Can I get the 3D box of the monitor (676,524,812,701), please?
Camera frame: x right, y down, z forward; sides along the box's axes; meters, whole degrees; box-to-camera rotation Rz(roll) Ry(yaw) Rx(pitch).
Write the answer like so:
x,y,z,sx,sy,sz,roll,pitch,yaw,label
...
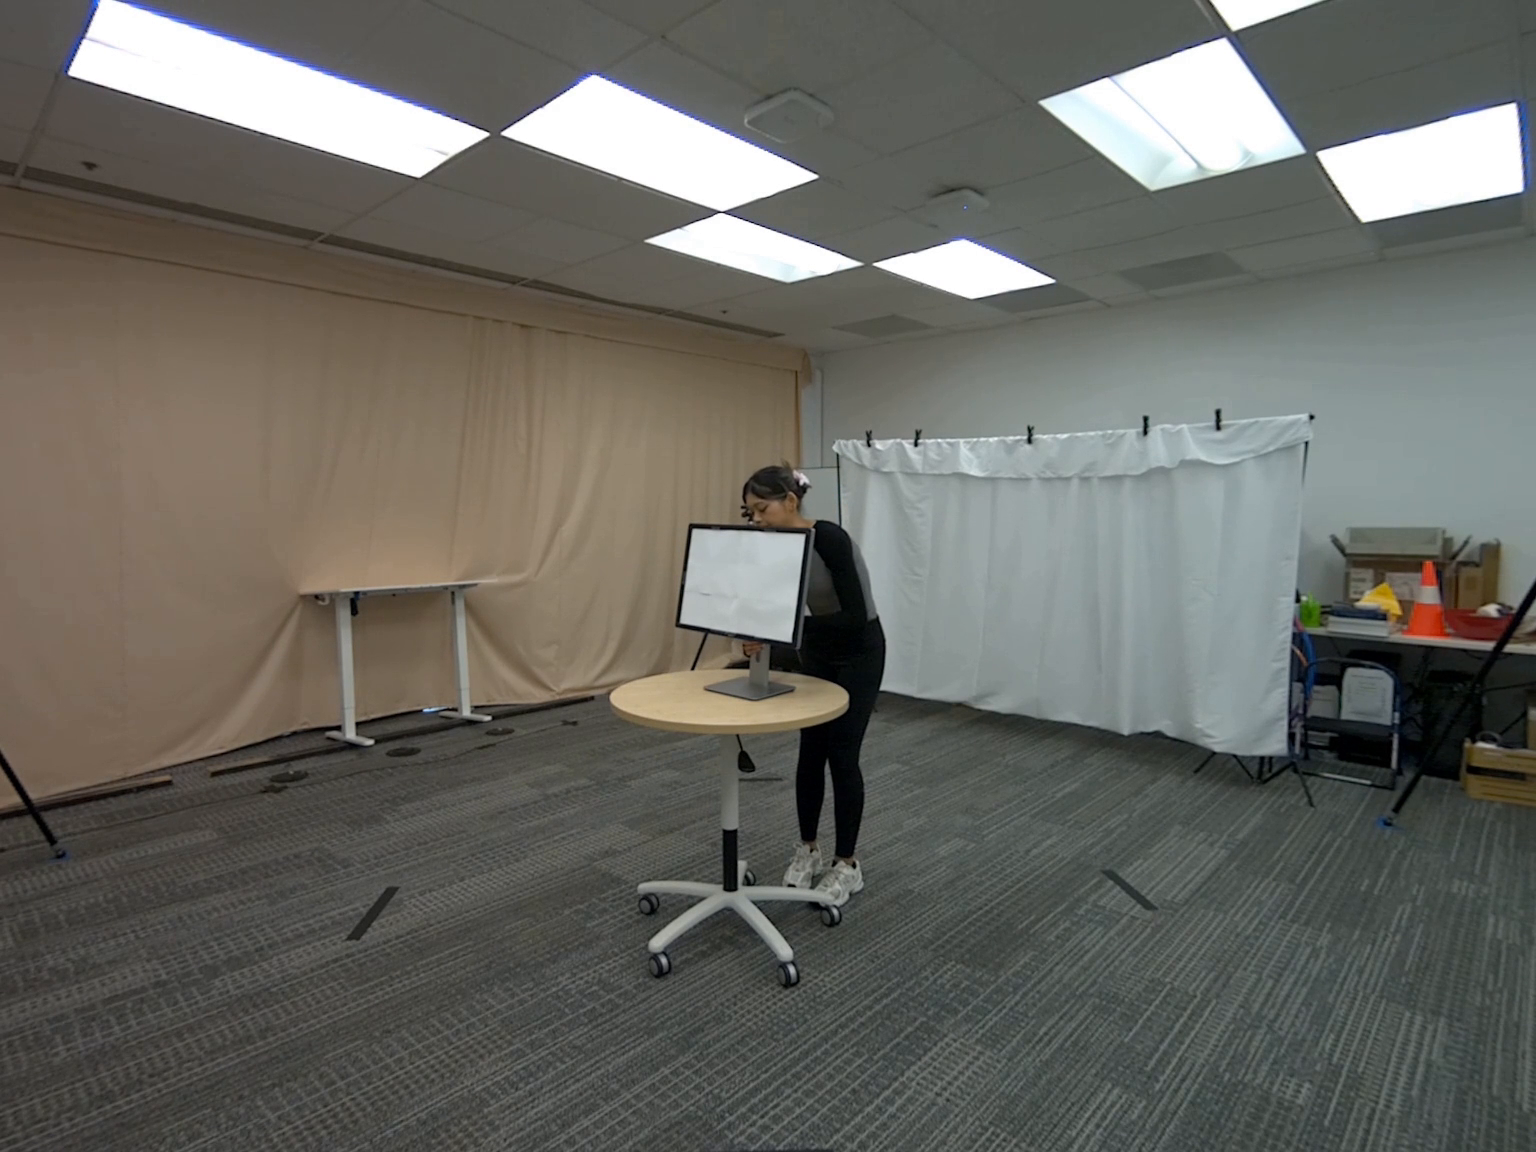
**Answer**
x,y,z,sx,sy,sz,roll,pitch,yaw,label
-0.057,0.110,2.744,0.557,0.521,0.181,4,7,44,monitor
